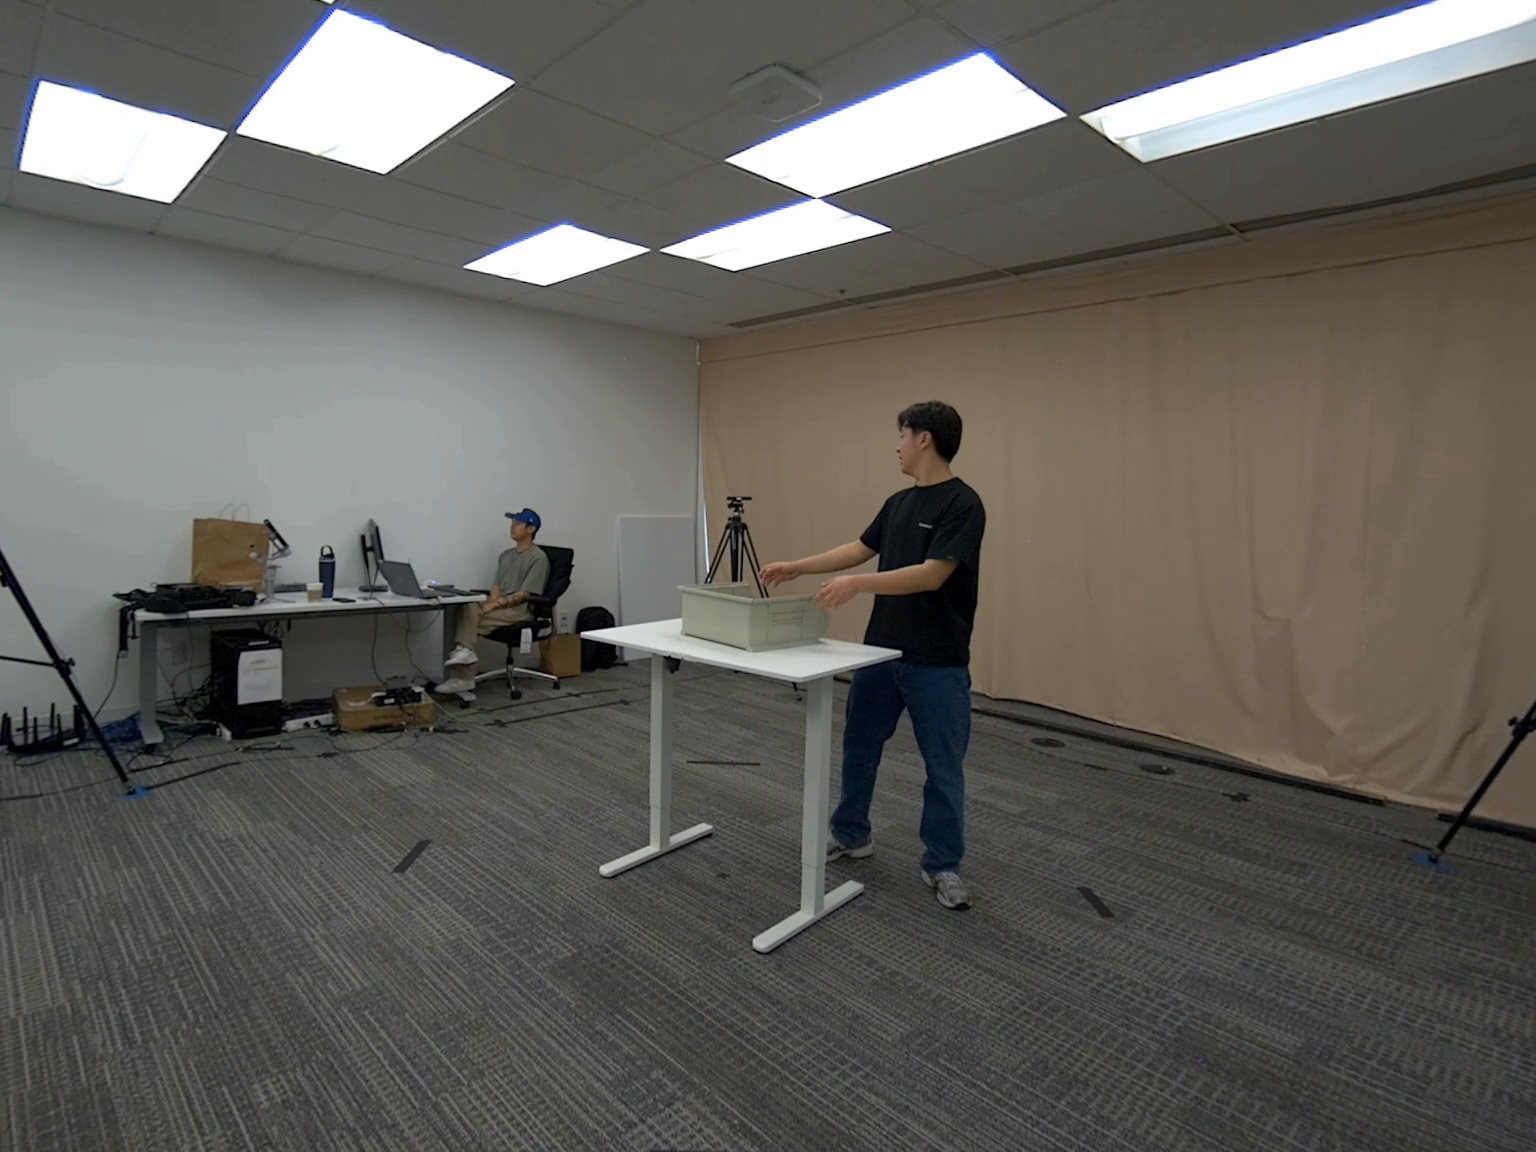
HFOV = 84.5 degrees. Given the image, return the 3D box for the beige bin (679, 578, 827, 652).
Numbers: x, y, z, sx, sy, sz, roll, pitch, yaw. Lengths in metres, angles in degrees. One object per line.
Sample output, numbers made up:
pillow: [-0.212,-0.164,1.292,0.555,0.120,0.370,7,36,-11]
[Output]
beige bin: [-0.060,0.140,3.057,0.369,0.188,0.433,-5,9,-40]
